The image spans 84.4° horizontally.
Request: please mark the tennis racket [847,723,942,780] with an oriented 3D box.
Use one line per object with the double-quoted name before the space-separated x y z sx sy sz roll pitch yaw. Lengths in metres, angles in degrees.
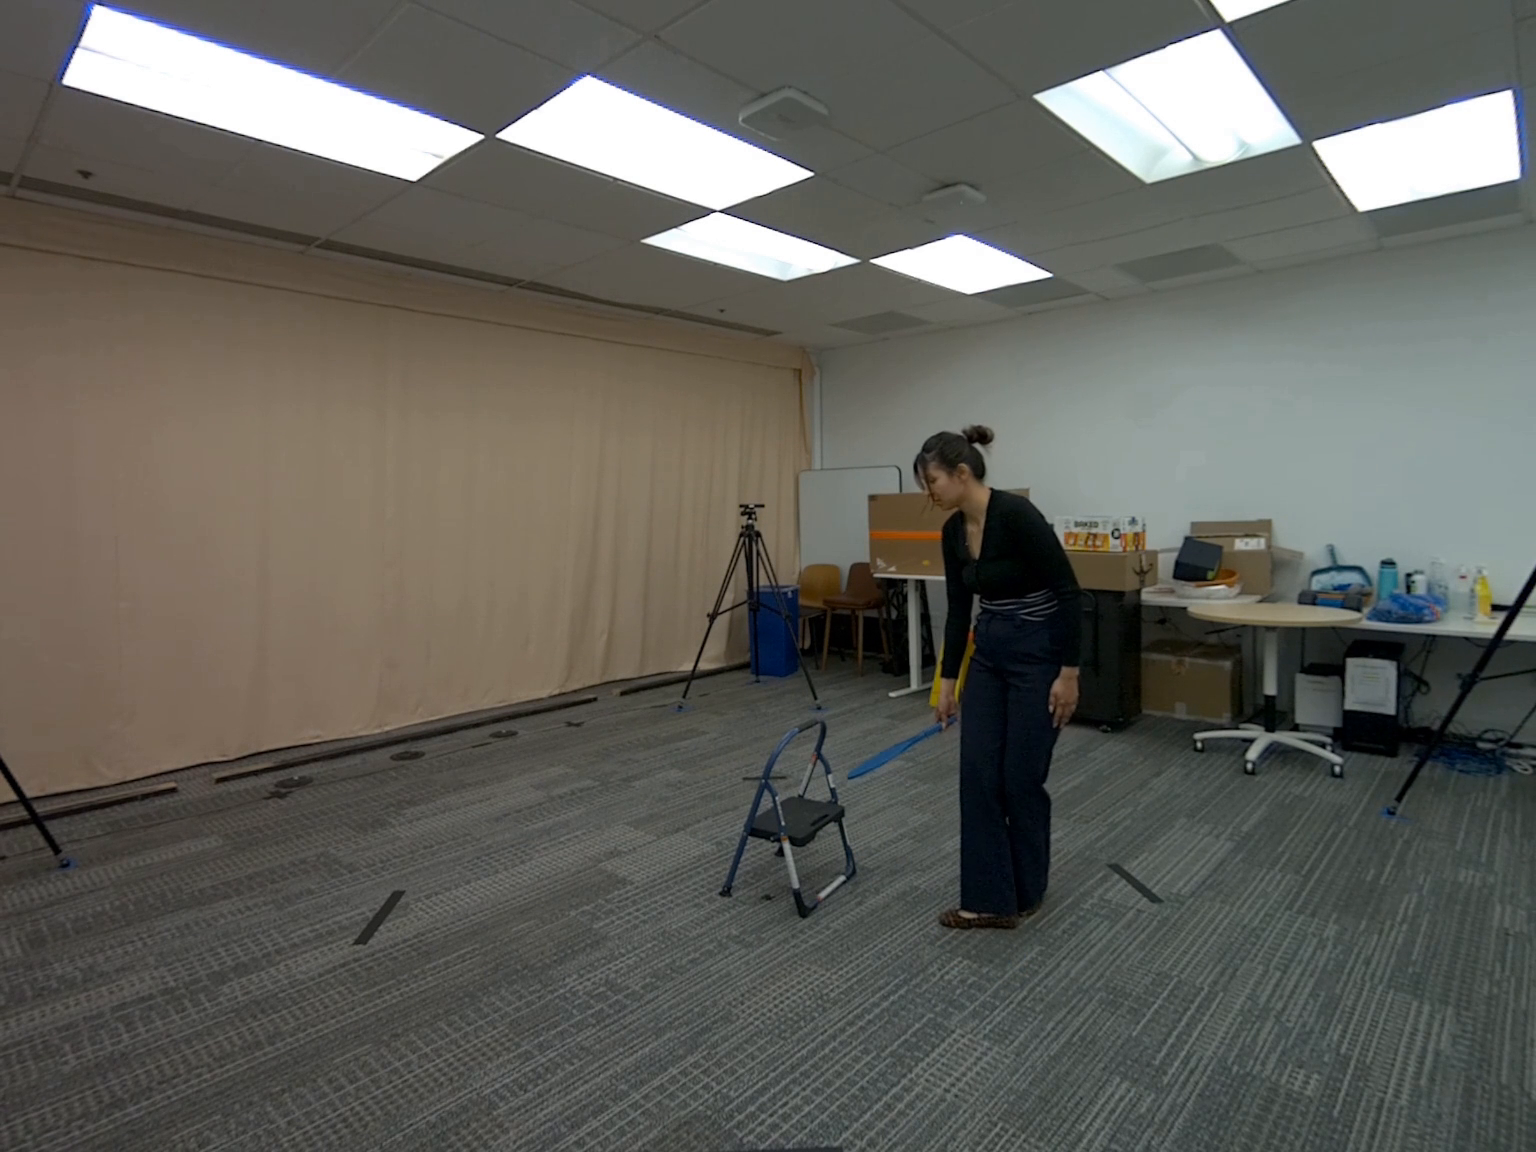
"tennis racket" 0.477 0.604 2.935 0.433 0.032 0.212 -30 -5 2
